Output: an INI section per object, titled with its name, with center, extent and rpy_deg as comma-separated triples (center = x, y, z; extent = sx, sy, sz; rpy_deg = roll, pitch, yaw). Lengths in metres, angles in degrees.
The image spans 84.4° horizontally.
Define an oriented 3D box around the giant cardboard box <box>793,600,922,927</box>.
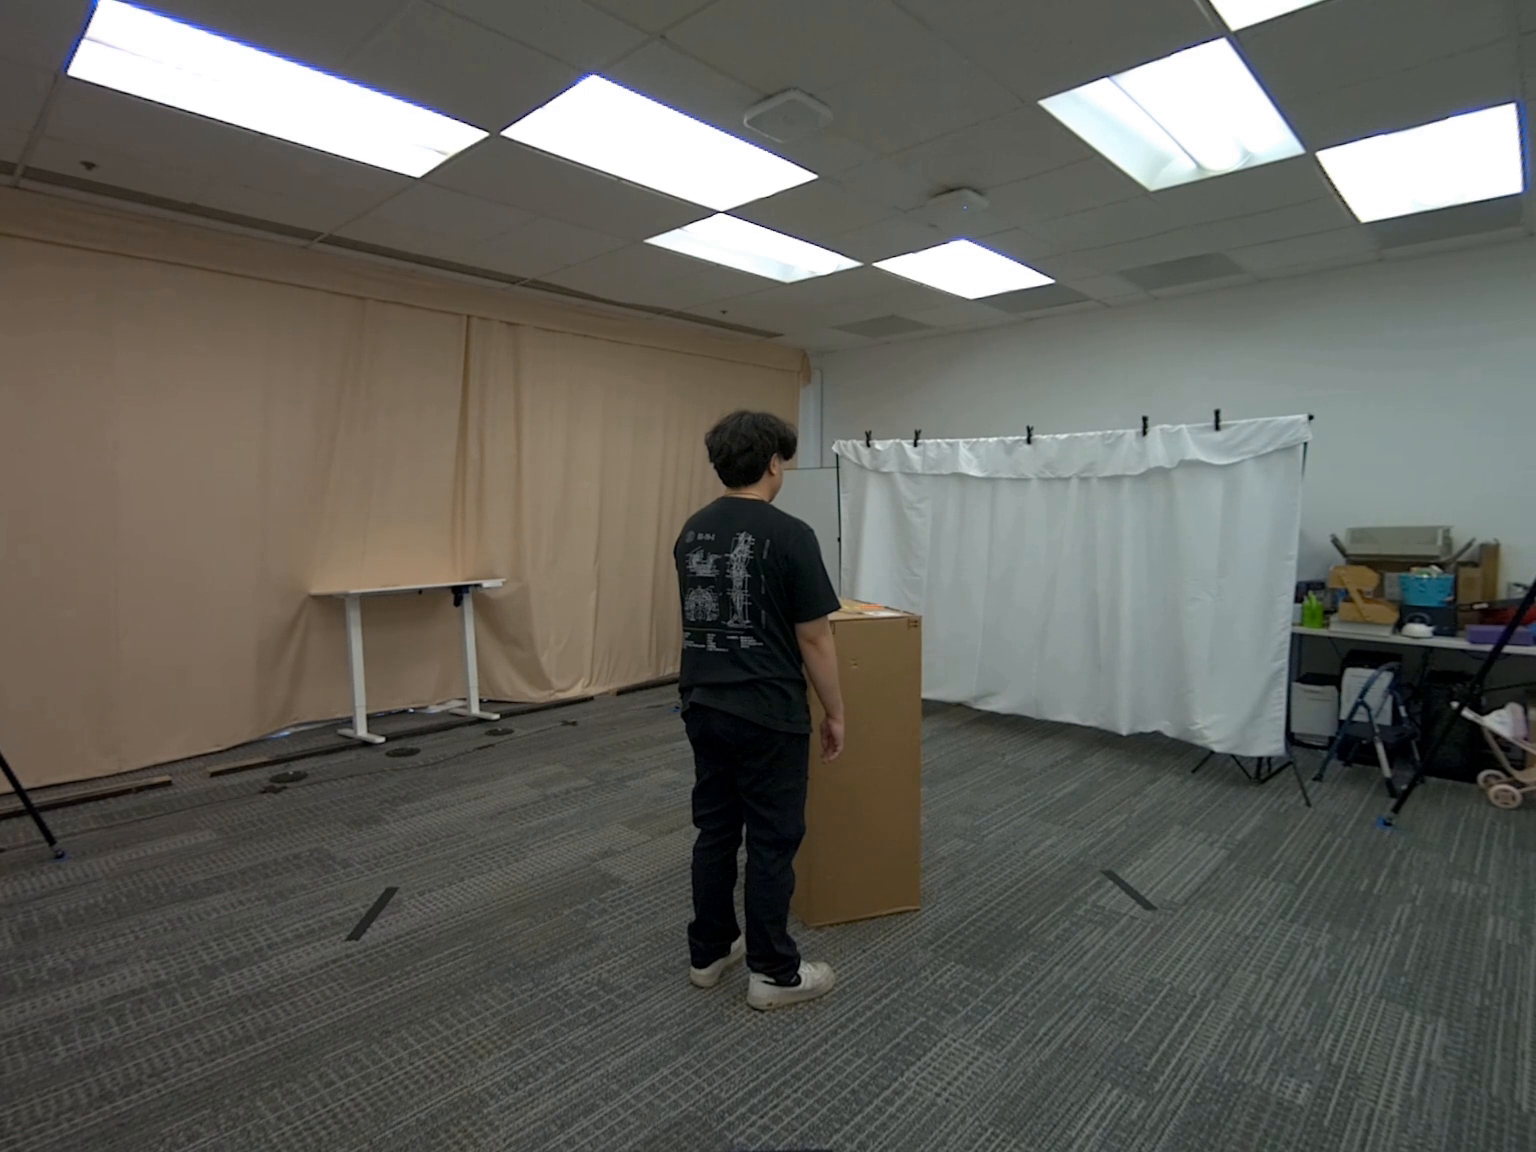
[giant cardboard box]
center = 0.228, 0.623, 3.079
extent = 0.438, 1.025, 0.597
rpy_deg = -1, 3, -21
